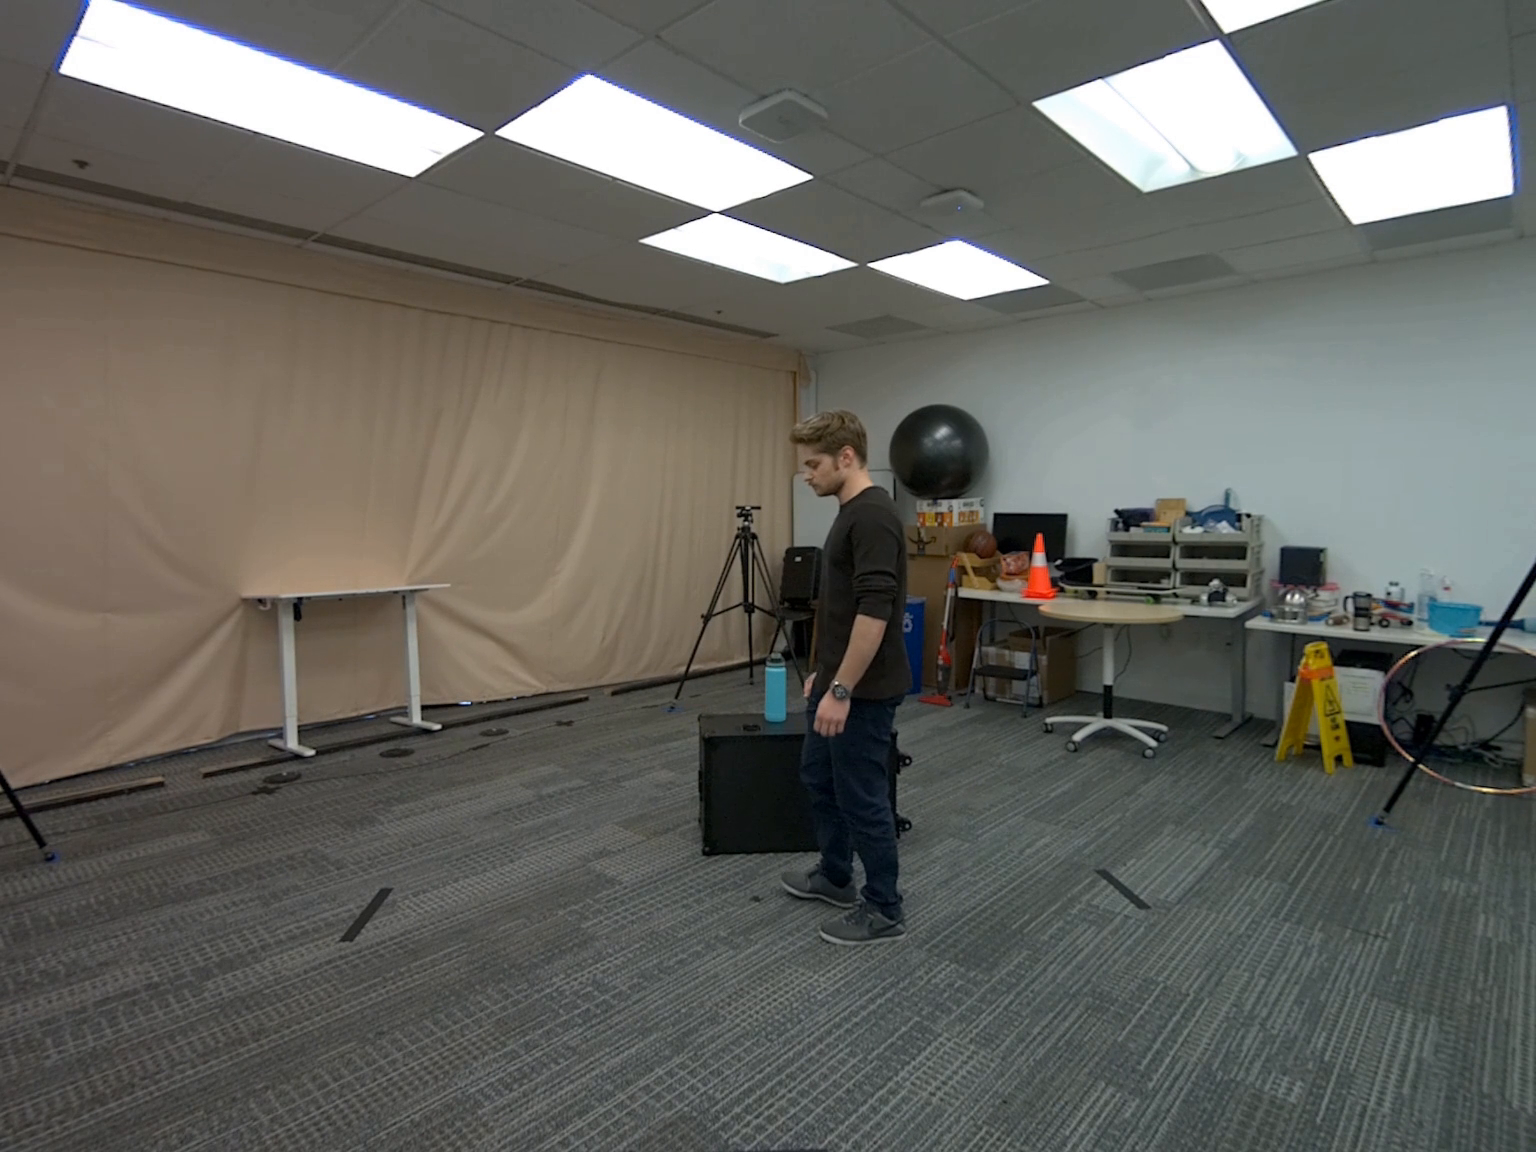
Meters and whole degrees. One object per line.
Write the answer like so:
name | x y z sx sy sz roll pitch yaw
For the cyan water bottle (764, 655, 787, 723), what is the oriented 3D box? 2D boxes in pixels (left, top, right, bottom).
cyan water bottle | 0.035 0.471 3.599 0.092 0.283 0.092 0 1 -2
